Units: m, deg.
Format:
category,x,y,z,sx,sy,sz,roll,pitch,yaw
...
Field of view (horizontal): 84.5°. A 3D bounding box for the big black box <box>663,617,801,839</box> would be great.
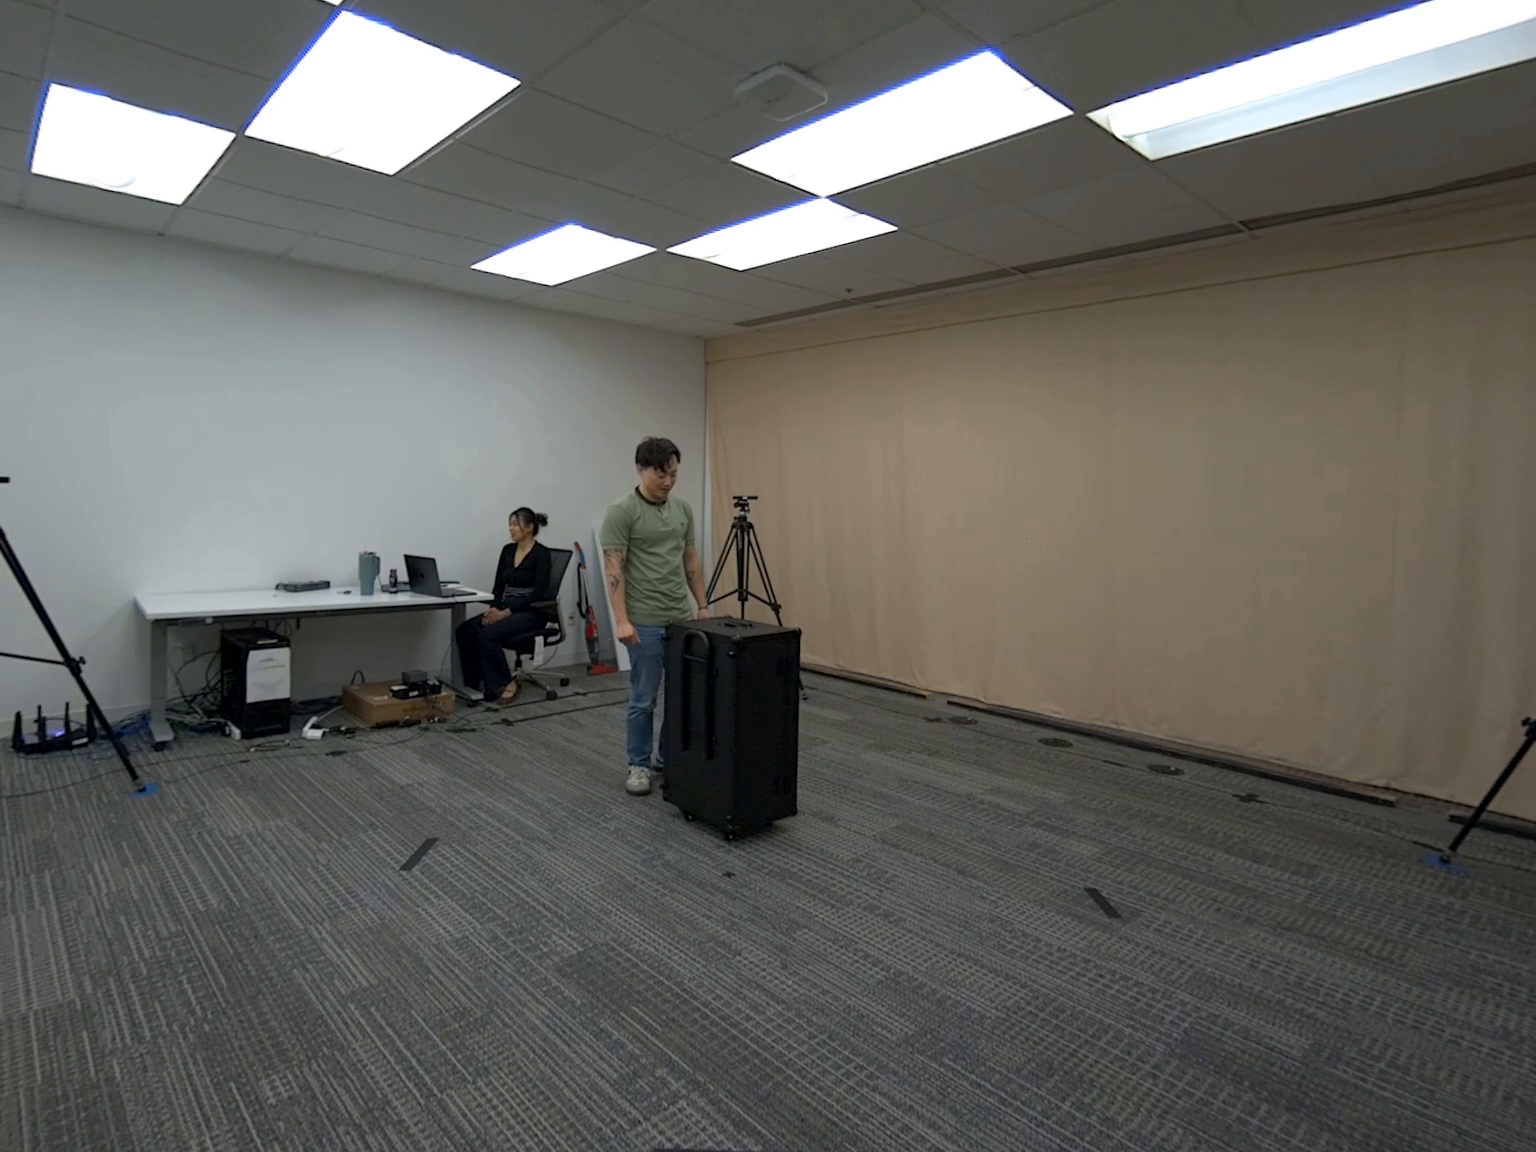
category,x,y,z,sx,sy,sz,roll,pitch,yaw
big black box,-0.172,0.635,3.569,0.387,0.859,0.534,-3,5,-41
